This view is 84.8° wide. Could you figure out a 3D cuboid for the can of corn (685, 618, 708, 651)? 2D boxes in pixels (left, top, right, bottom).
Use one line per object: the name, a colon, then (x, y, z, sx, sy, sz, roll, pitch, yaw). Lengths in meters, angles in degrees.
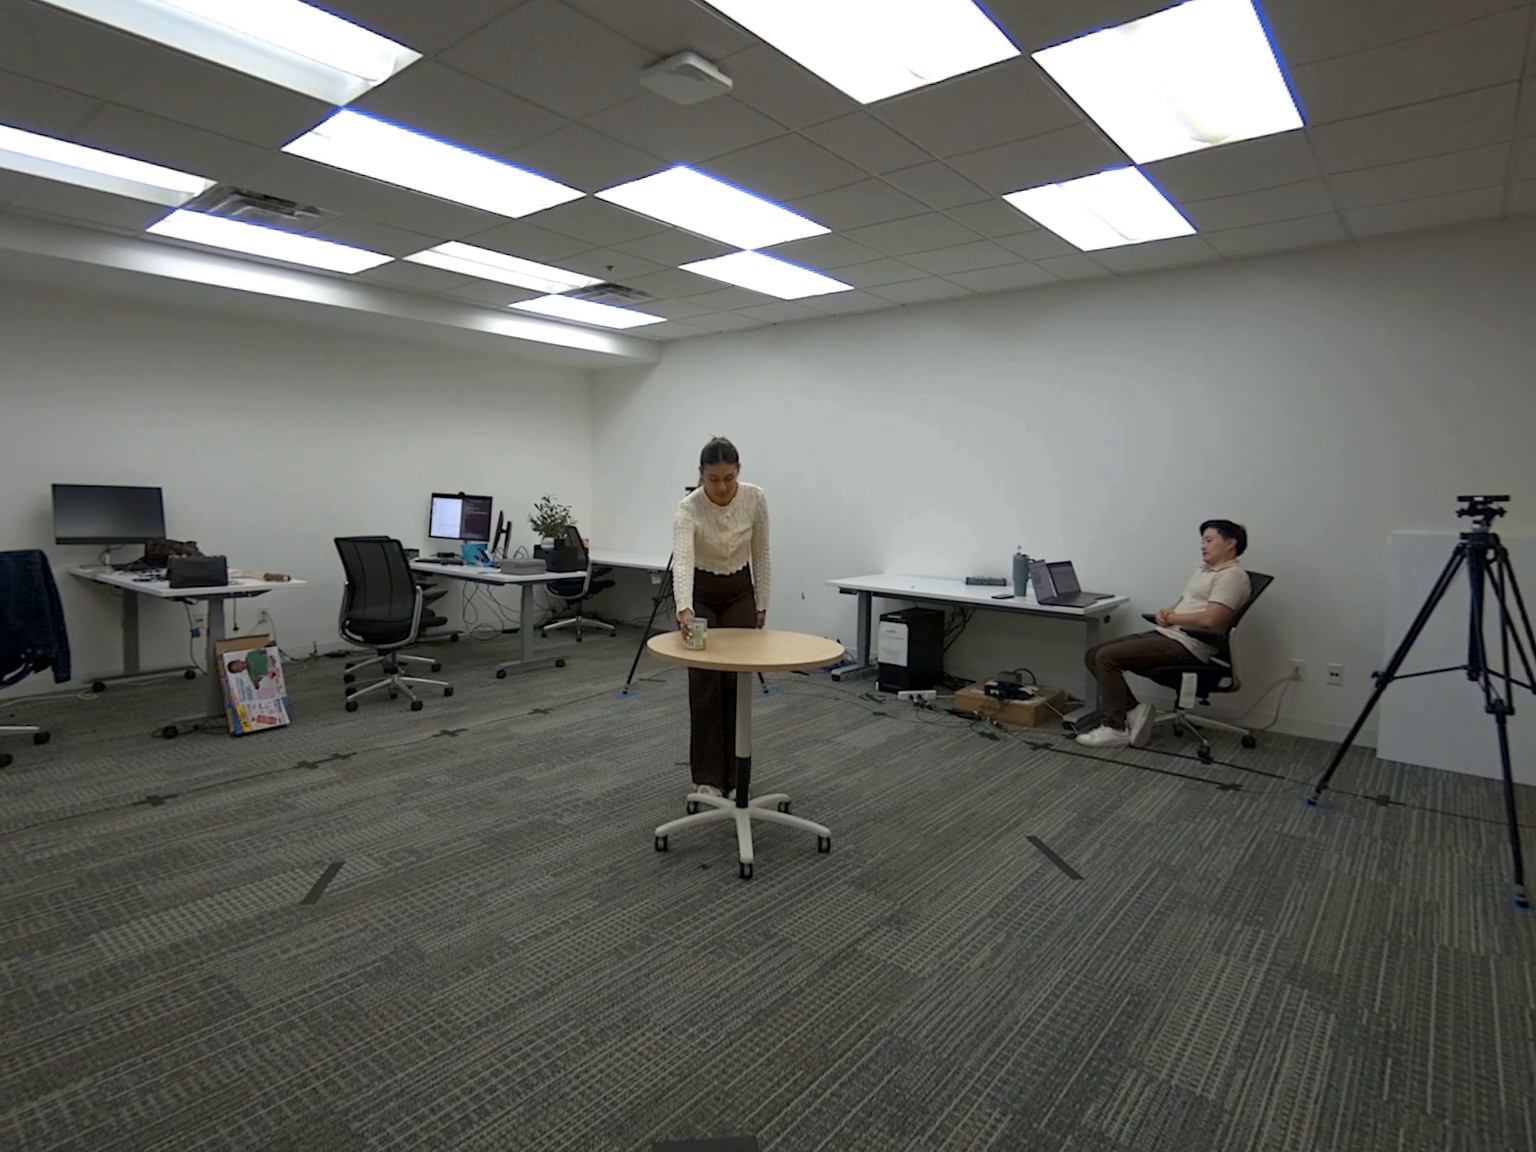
can of corn: (-0.284, 0.217, 3.190, 0.074, 0.111, 0.074, 2, 1, -2)
